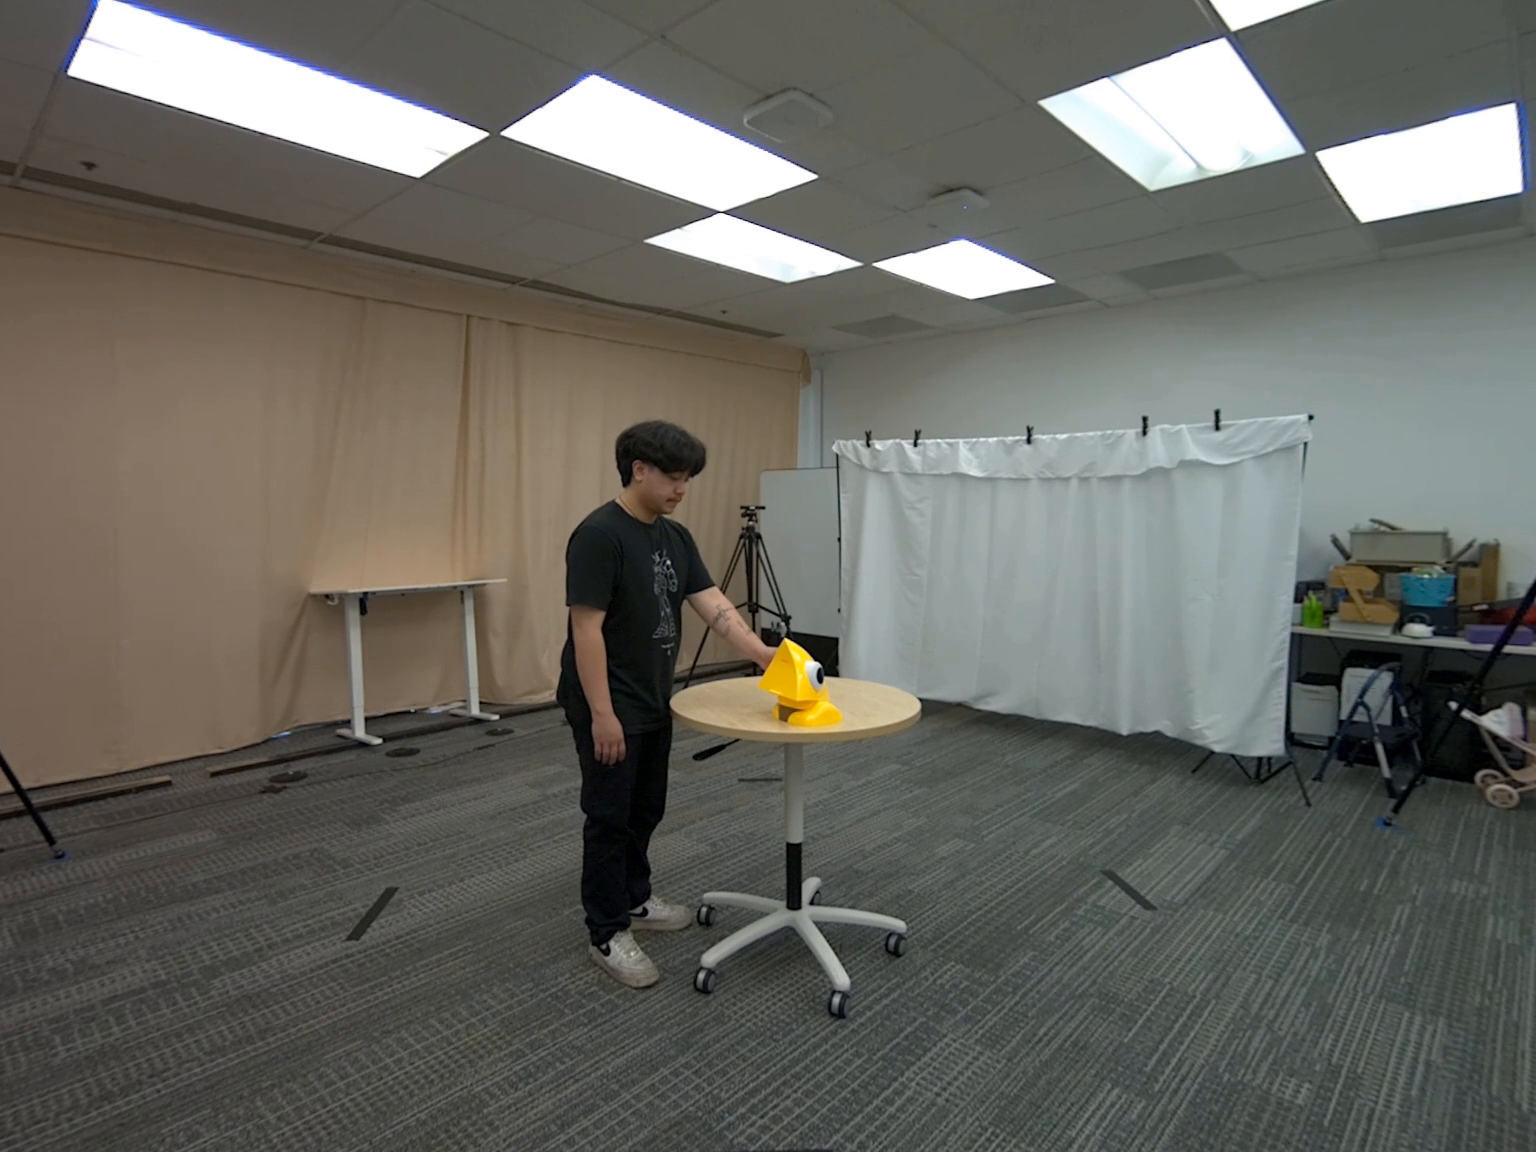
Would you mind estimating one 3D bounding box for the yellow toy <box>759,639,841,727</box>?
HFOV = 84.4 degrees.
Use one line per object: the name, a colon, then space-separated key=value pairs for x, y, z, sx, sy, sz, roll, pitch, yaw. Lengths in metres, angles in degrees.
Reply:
yellow toy: x=0.107 y=0.290 z=2.355 sx=0.188 sy=0.230 sz=0.211 roll=-1 pitch=3 yaw=-31
